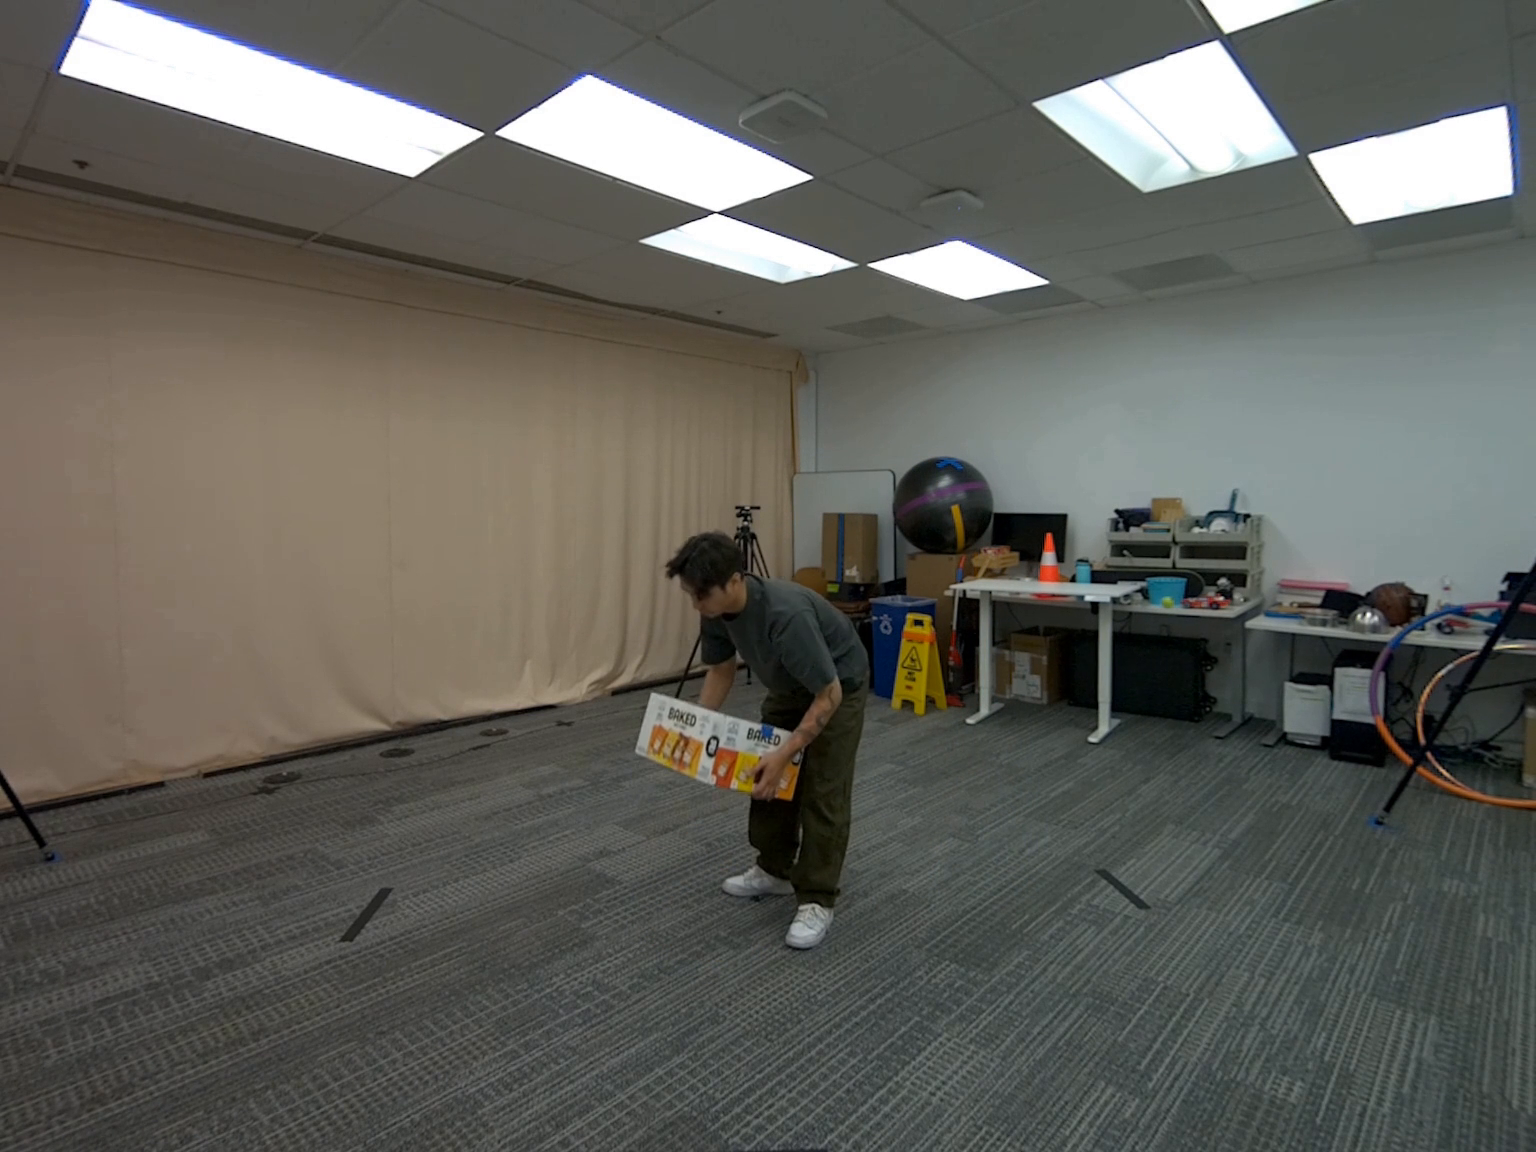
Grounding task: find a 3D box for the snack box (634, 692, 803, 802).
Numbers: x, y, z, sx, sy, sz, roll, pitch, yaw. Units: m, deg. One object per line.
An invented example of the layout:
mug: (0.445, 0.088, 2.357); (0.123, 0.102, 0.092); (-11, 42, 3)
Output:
snack box: (-0.152, 0.538, 2.689); (0.328, 0.206, 0.418); (22, -11, -37)
